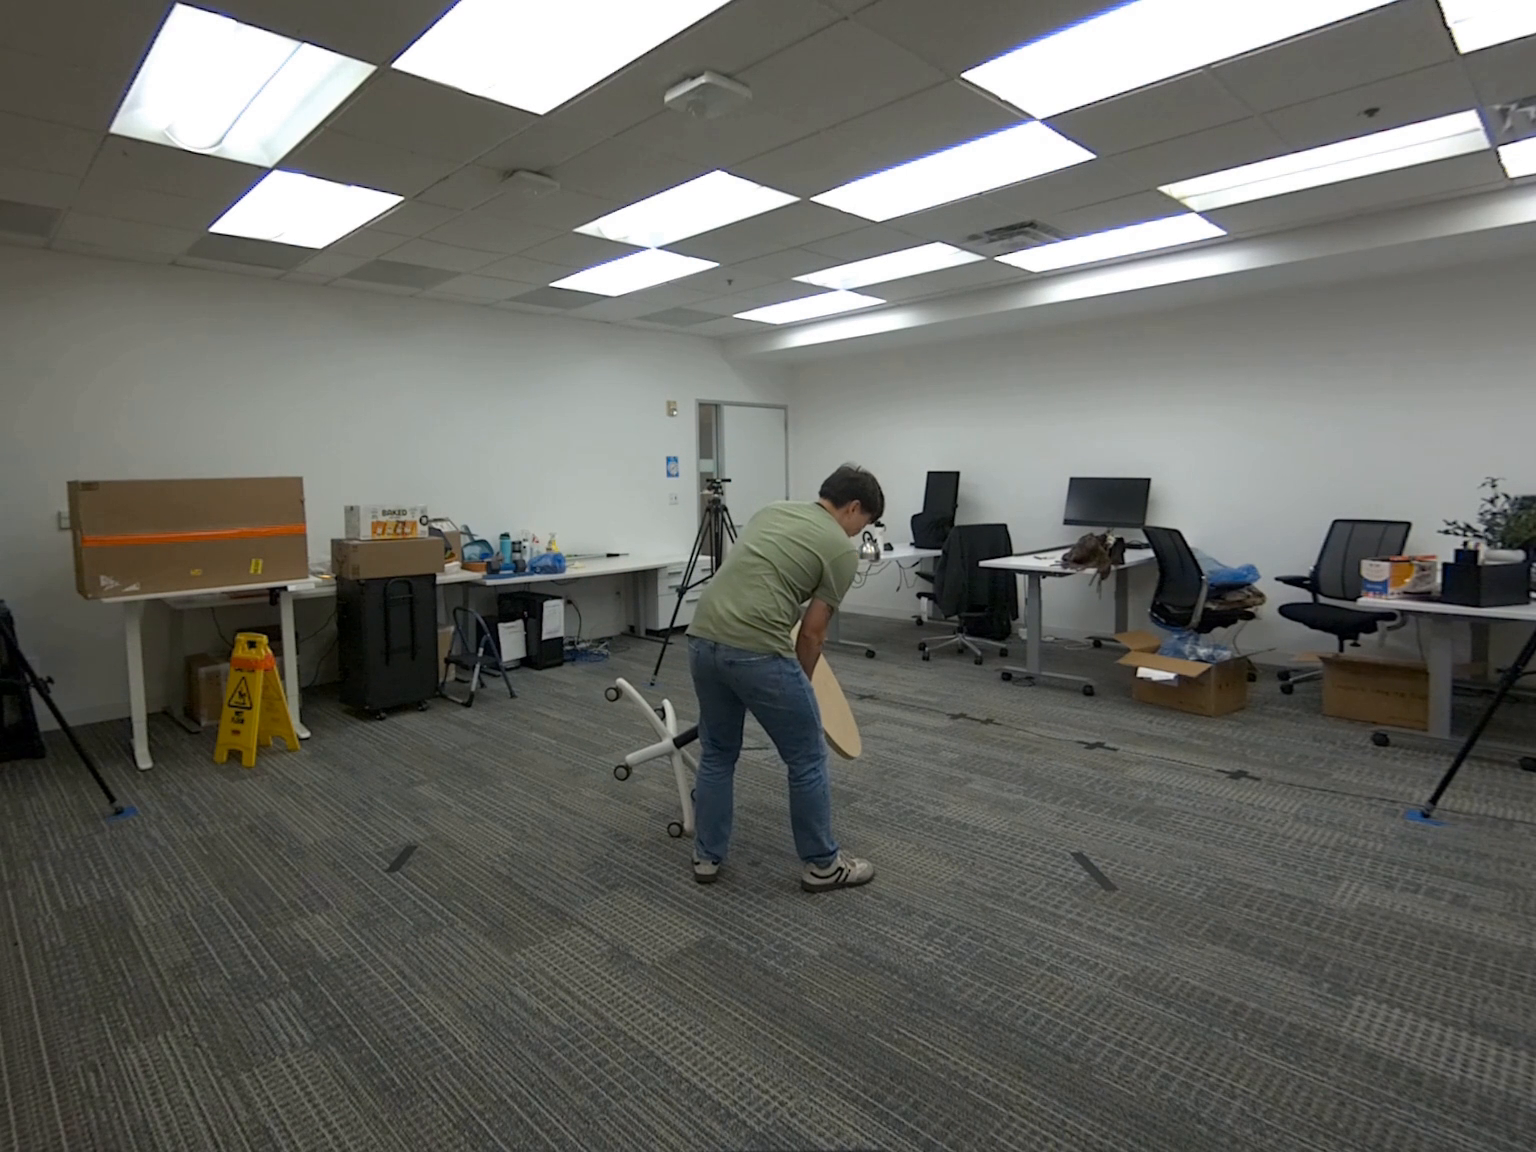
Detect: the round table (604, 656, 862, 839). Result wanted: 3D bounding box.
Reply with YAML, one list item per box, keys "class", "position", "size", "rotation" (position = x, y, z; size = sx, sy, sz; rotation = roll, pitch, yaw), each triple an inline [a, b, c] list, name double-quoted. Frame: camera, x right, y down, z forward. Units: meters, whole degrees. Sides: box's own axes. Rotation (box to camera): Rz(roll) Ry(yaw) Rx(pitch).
- class: "round table"
  position: [-0.165, 0.565, 3.458]
  size: [0.797, 0.766, 0.759]
  rotation: [-32, -1, 11]
